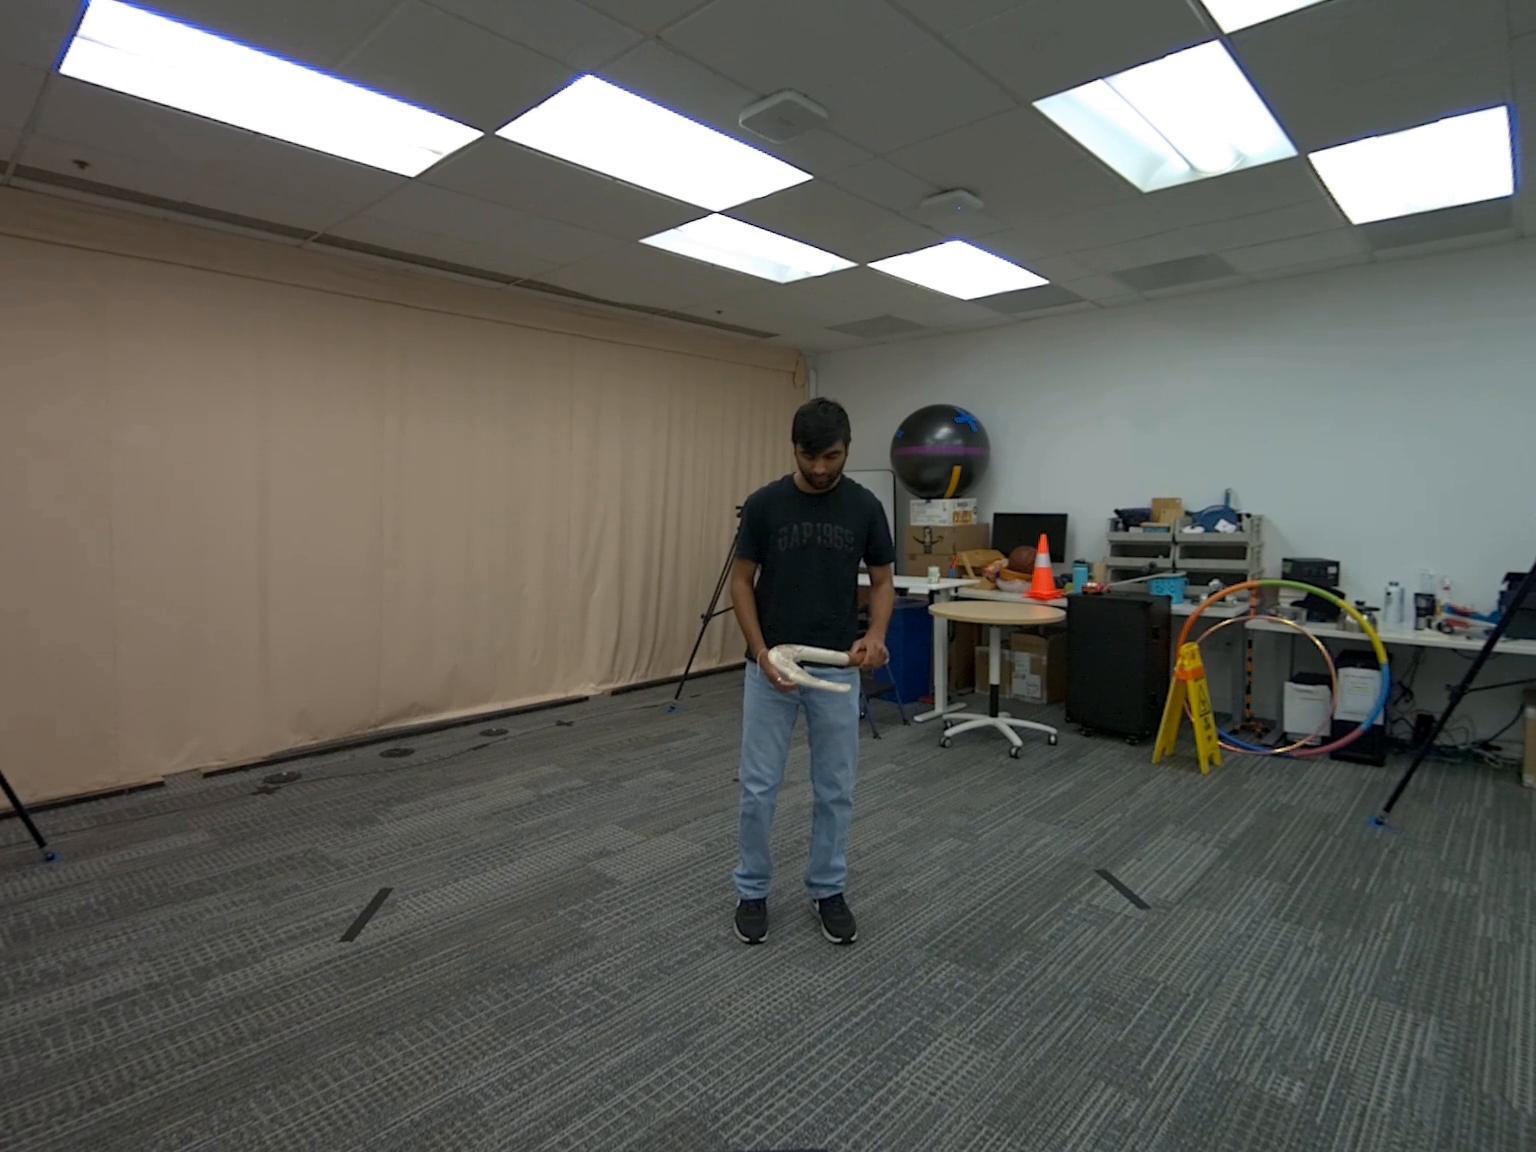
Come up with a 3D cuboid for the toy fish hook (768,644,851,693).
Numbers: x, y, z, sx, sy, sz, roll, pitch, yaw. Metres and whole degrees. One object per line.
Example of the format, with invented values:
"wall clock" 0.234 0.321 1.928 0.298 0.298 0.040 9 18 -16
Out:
"toy fish hook" 0.234 0.266 2.399 0.490 0.048 0.233 5 27 -40
